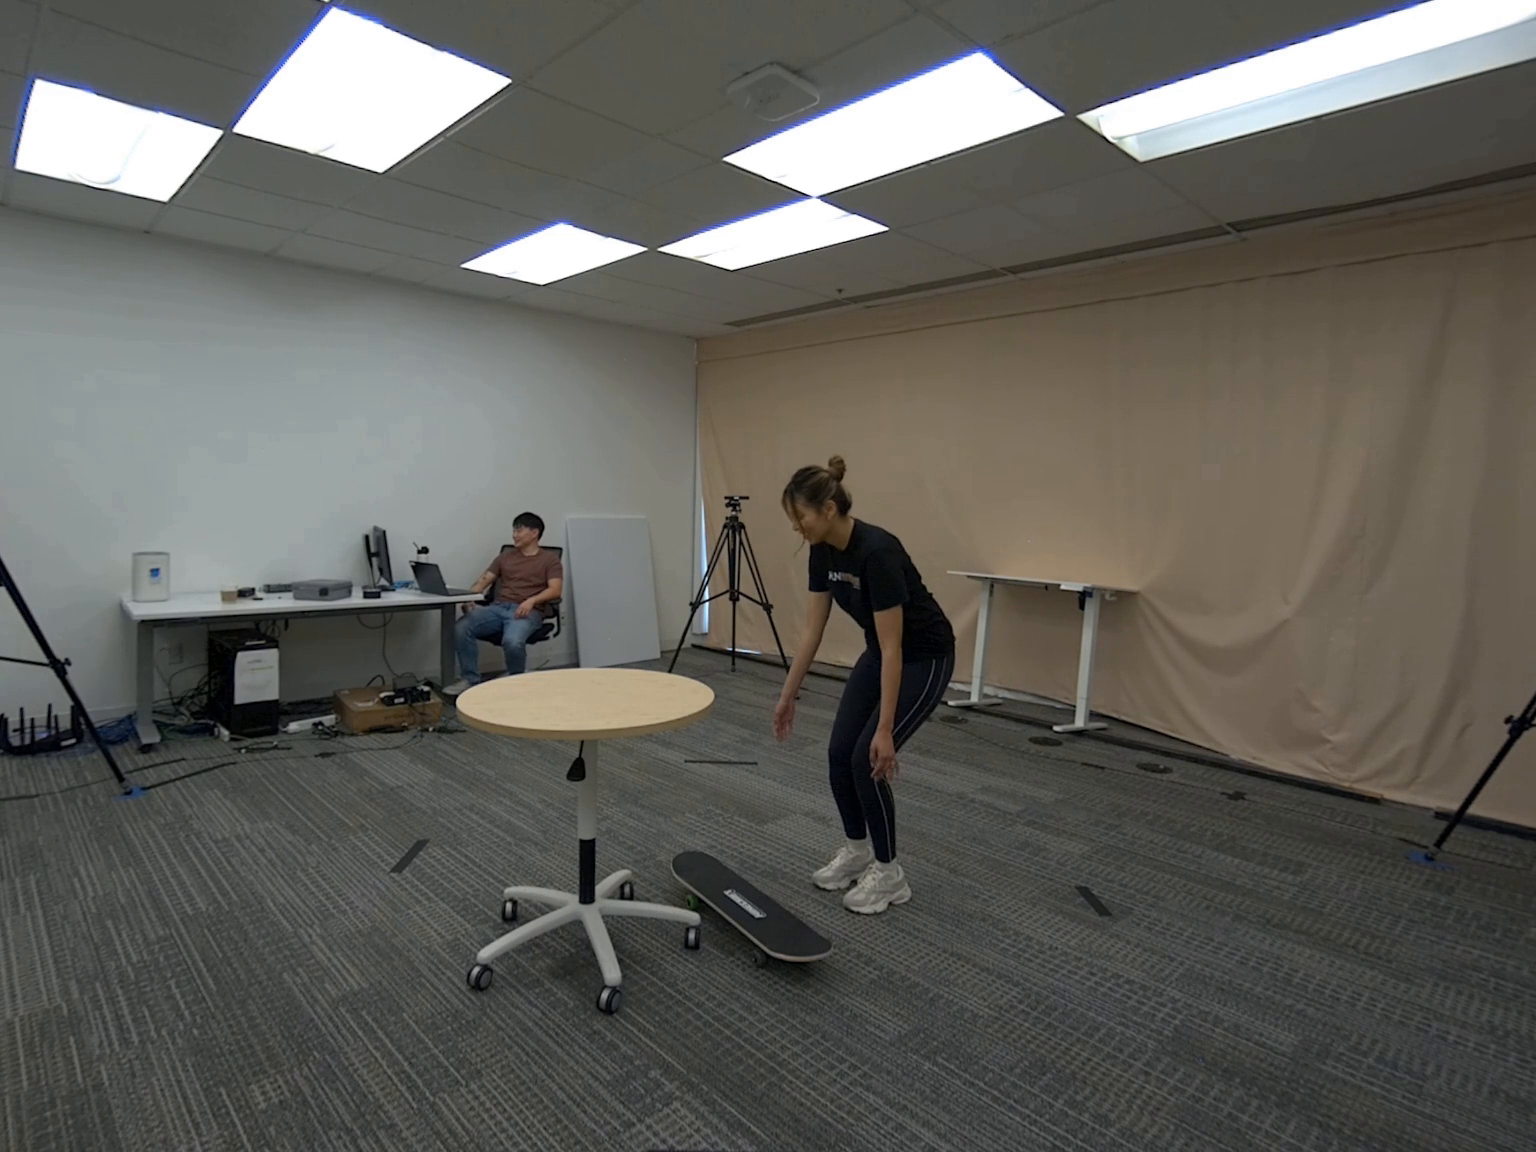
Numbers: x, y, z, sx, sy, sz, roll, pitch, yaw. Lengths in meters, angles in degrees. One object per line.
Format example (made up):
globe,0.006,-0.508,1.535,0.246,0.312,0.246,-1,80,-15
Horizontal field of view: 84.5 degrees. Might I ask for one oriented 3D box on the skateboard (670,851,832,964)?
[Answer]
skateboard,-0.087,1.086,2.709,0.189,0.110,0.805,-1,6,-35
